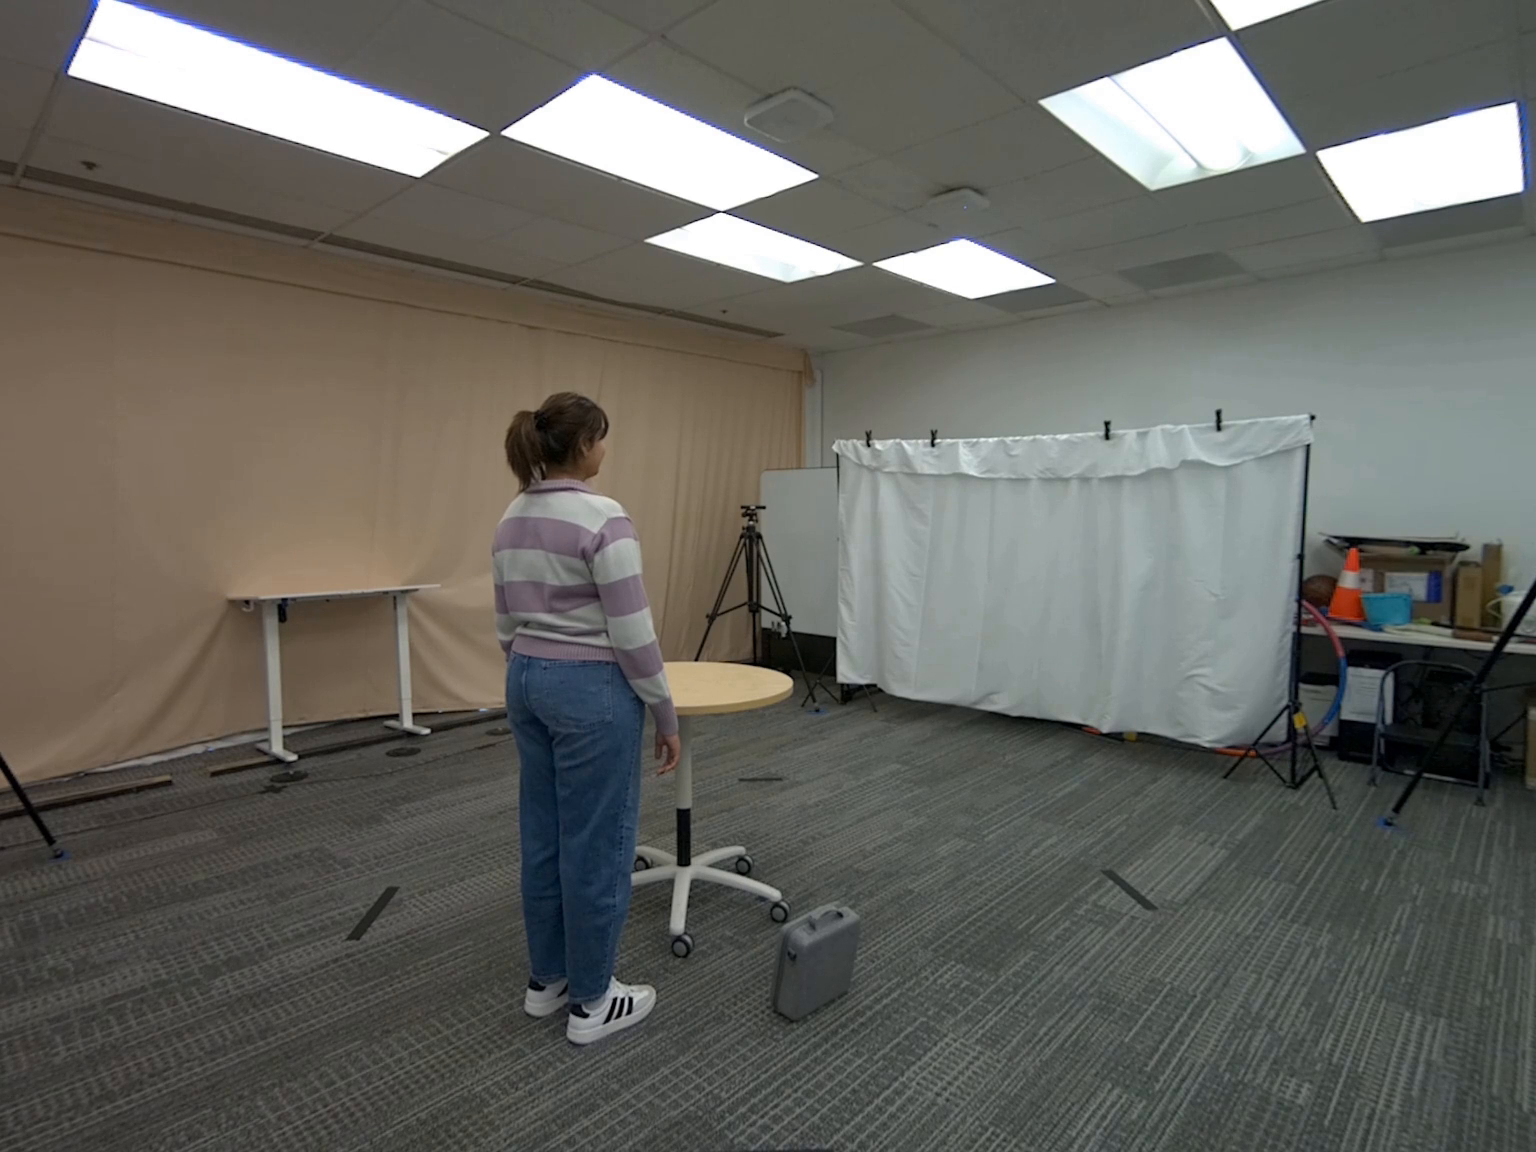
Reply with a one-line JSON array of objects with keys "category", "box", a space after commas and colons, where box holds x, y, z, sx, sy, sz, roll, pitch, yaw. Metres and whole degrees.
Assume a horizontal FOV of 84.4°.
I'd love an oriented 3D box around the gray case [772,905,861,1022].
[{"category": "gray case", "box": [0.140, 1.065, 2.344, 0.249, 0.259, 0.108, -4, 15, -41]}]
